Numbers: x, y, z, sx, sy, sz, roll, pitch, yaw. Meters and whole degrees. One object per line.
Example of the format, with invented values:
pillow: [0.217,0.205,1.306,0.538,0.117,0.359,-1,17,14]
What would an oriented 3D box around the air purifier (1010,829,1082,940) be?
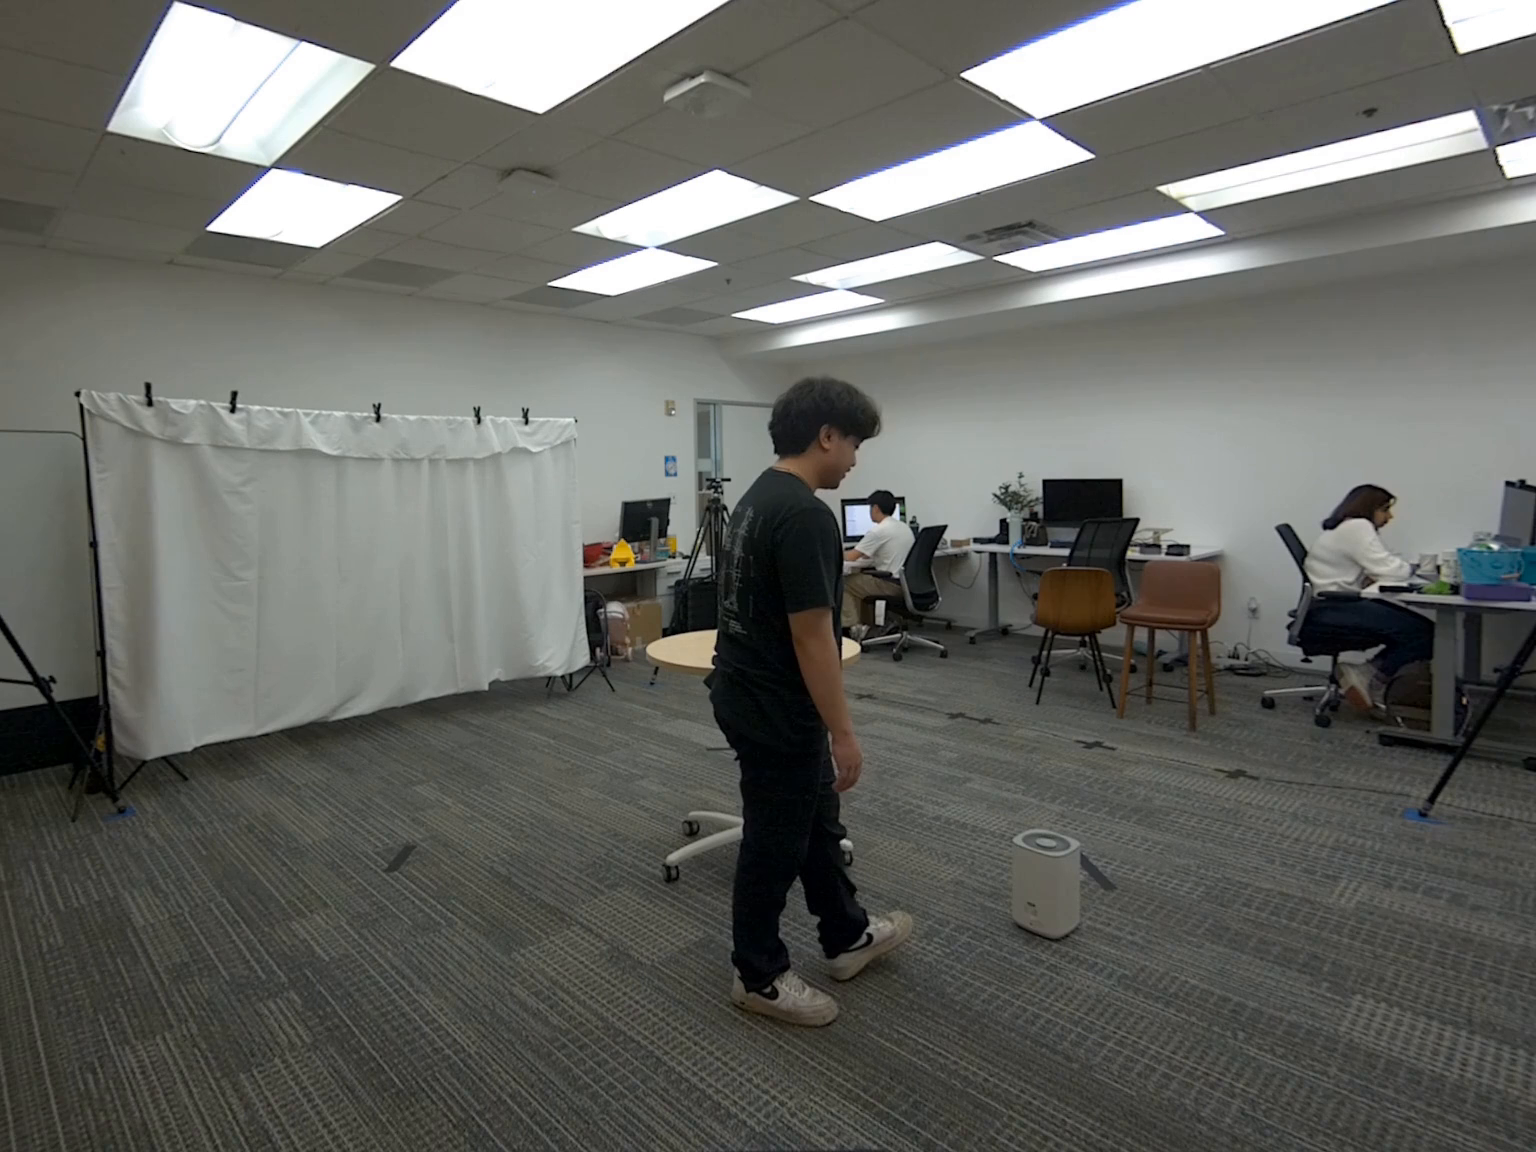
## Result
air purifier: [0.865,0.949,2.629,0.167,0.264,0.176,-5,5,-43]
